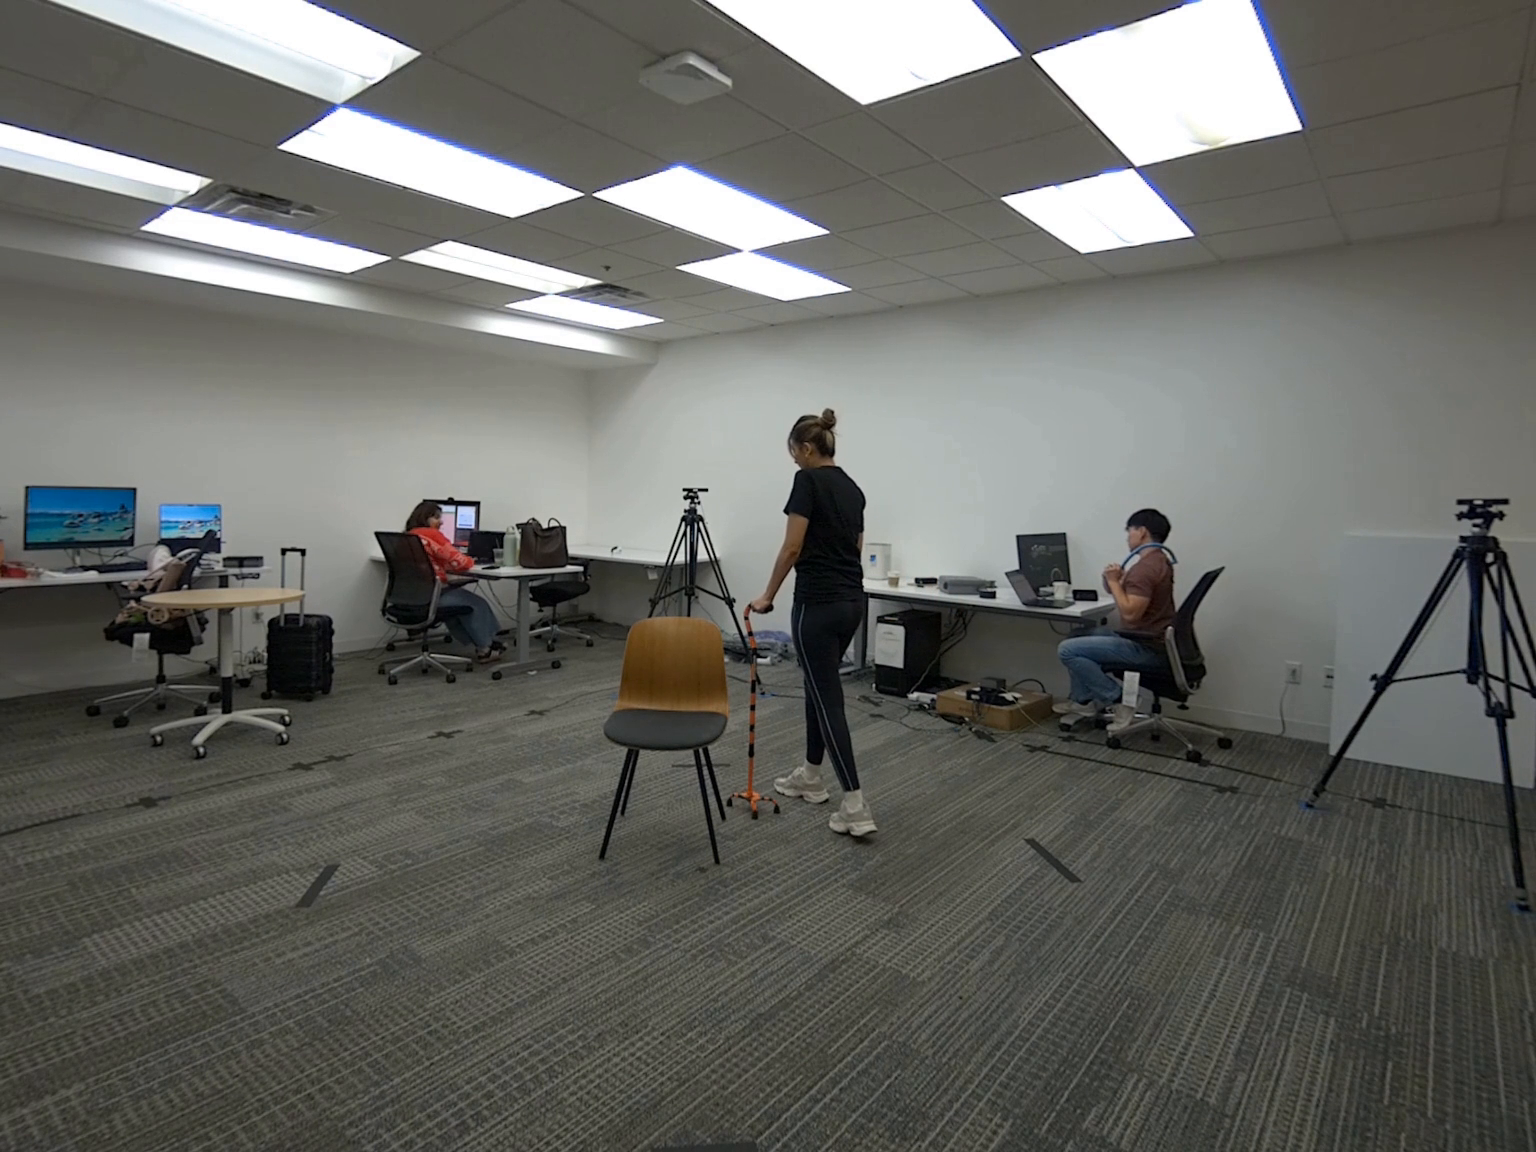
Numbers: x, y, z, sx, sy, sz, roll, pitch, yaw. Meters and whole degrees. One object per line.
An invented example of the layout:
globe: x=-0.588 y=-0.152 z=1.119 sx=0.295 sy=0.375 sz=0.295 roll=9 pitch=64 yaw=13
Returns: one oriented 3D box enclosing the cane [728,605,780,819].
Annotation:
cane: x=-0.073 y=0.566 z=3.696 sx=0.147 sy=0.905 sz=0.213 roll=-4 pitch=4 yaw=-37
